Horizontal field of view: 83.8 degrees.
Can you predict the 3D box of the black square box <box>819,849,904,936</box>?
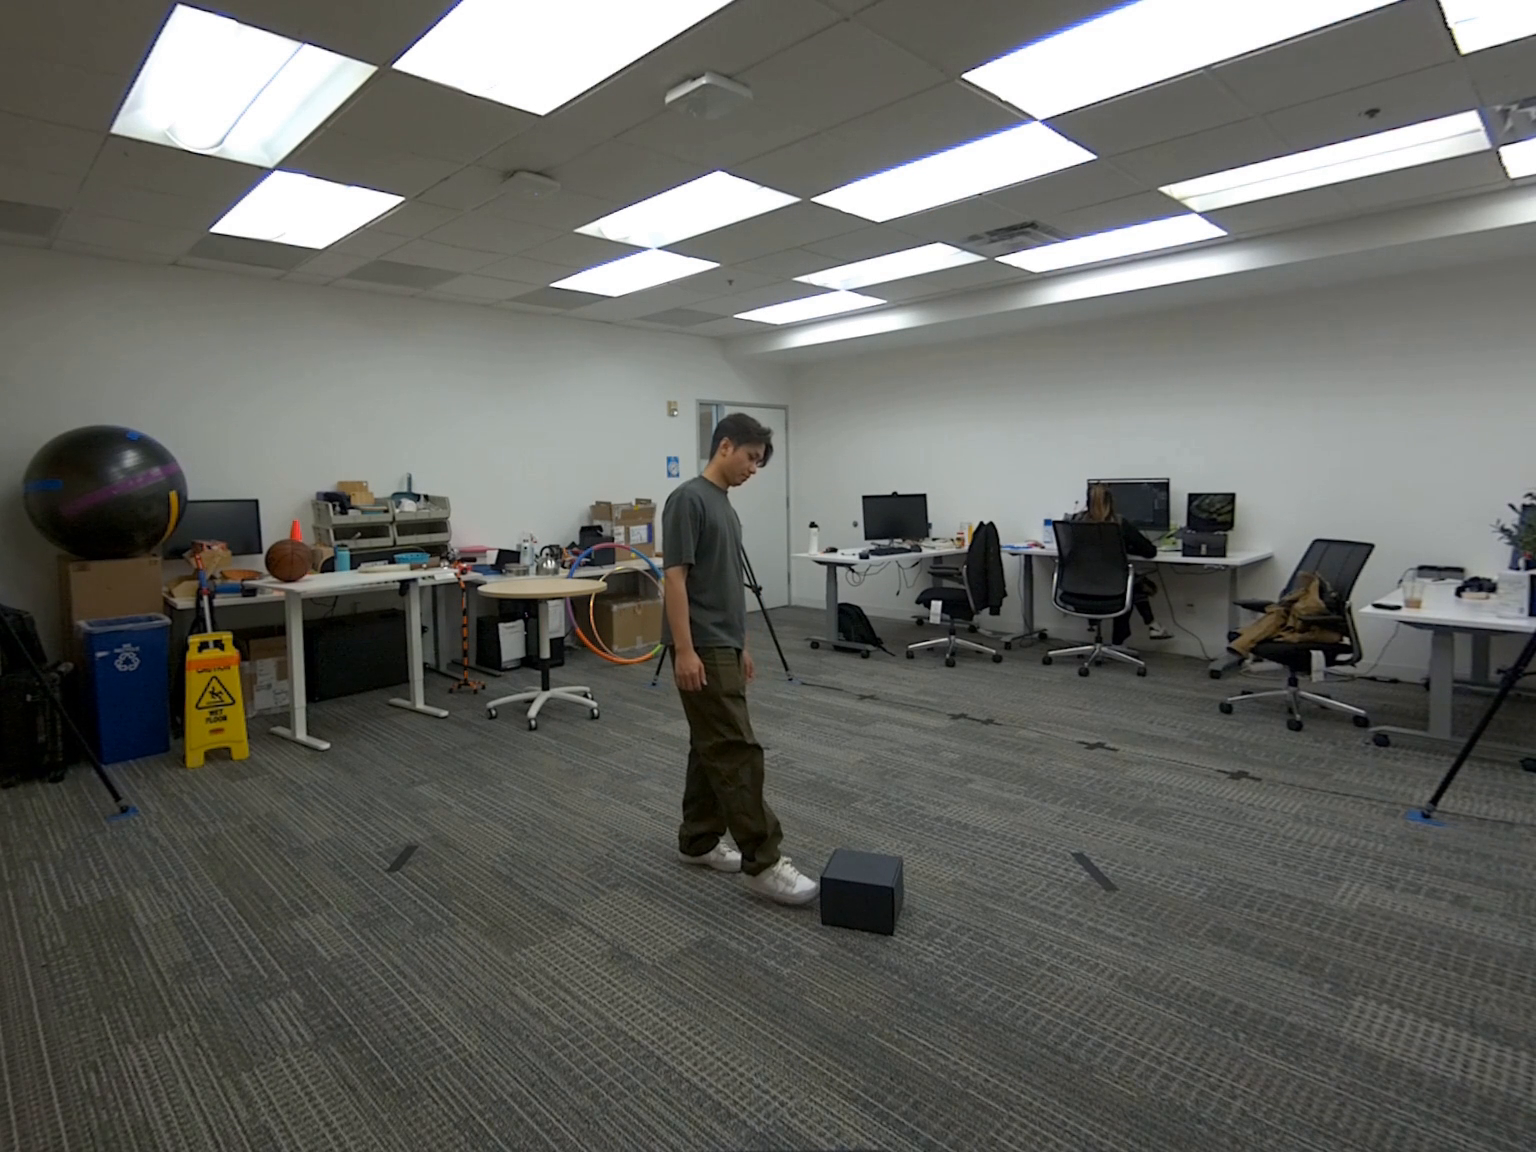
[{"bbox_3d":[0.310,0.996,2.723,0.232,0.155,0.214,0,6,19],"label":"black square box"}]
